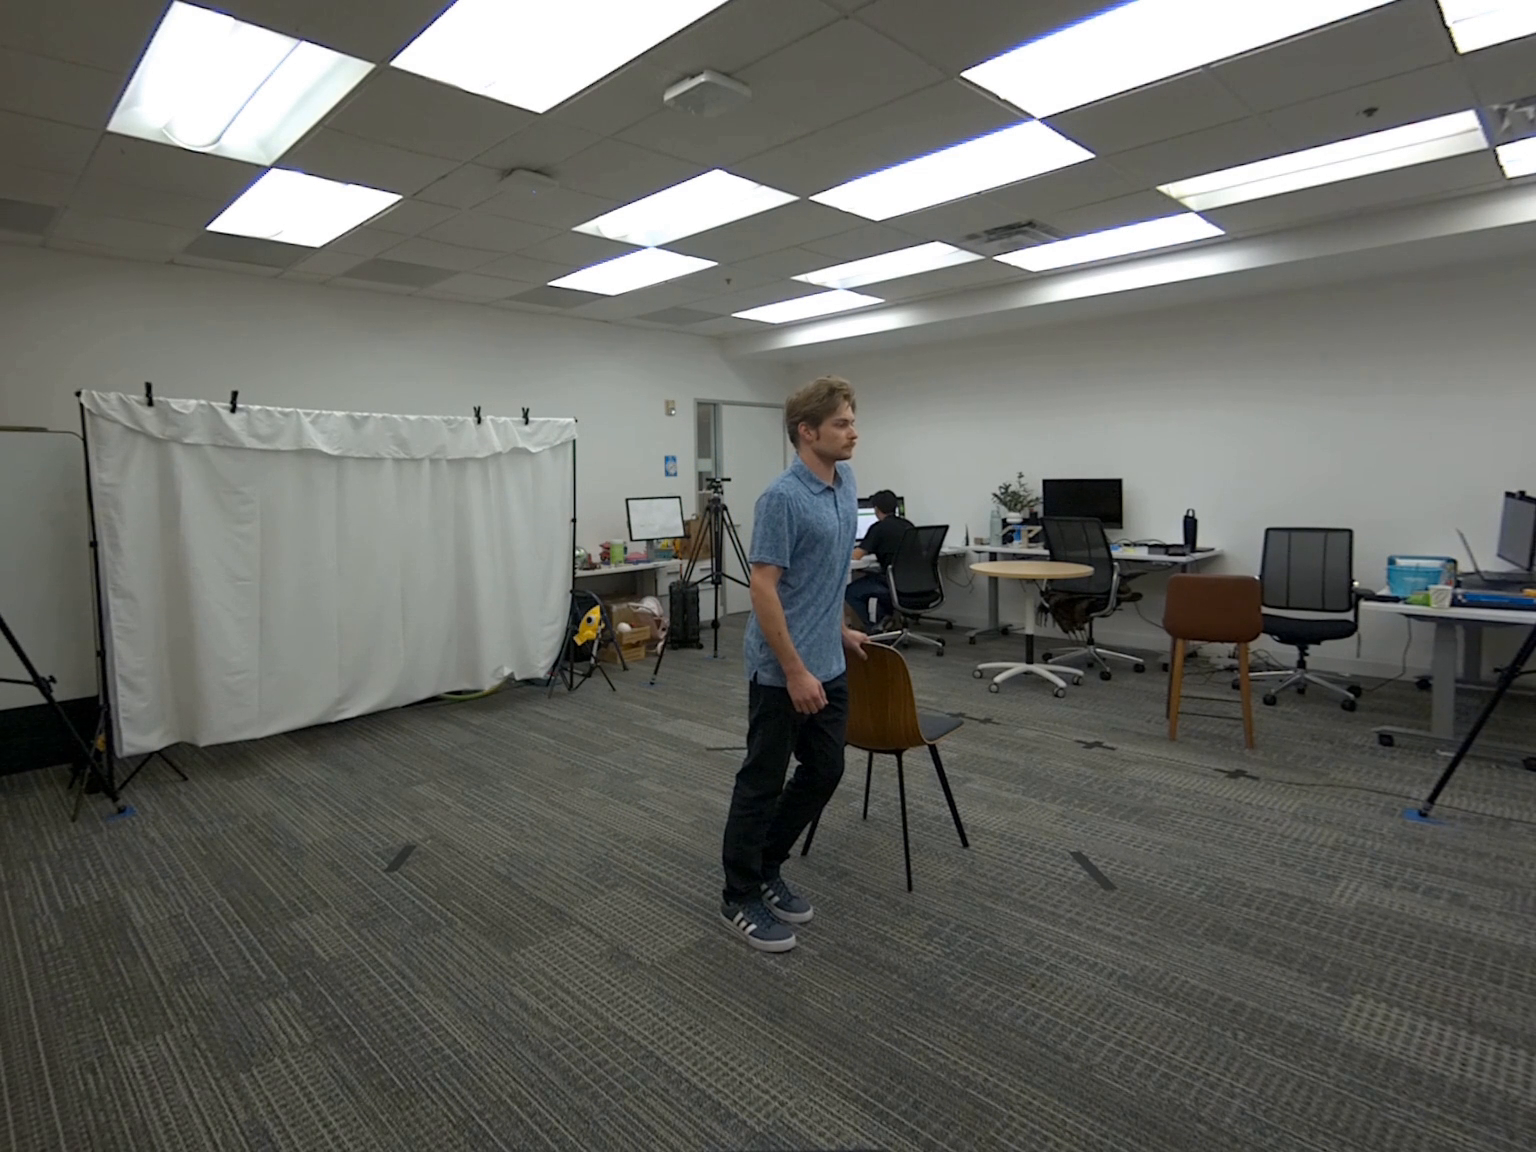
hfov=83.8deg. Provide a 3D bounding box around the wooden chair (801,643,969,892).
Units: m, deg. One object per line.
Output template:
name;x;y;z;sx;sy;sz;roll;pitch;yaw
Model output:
wooden chair;0.435;0.601;3.159;0.492;0.871;0.511;2;9;39
